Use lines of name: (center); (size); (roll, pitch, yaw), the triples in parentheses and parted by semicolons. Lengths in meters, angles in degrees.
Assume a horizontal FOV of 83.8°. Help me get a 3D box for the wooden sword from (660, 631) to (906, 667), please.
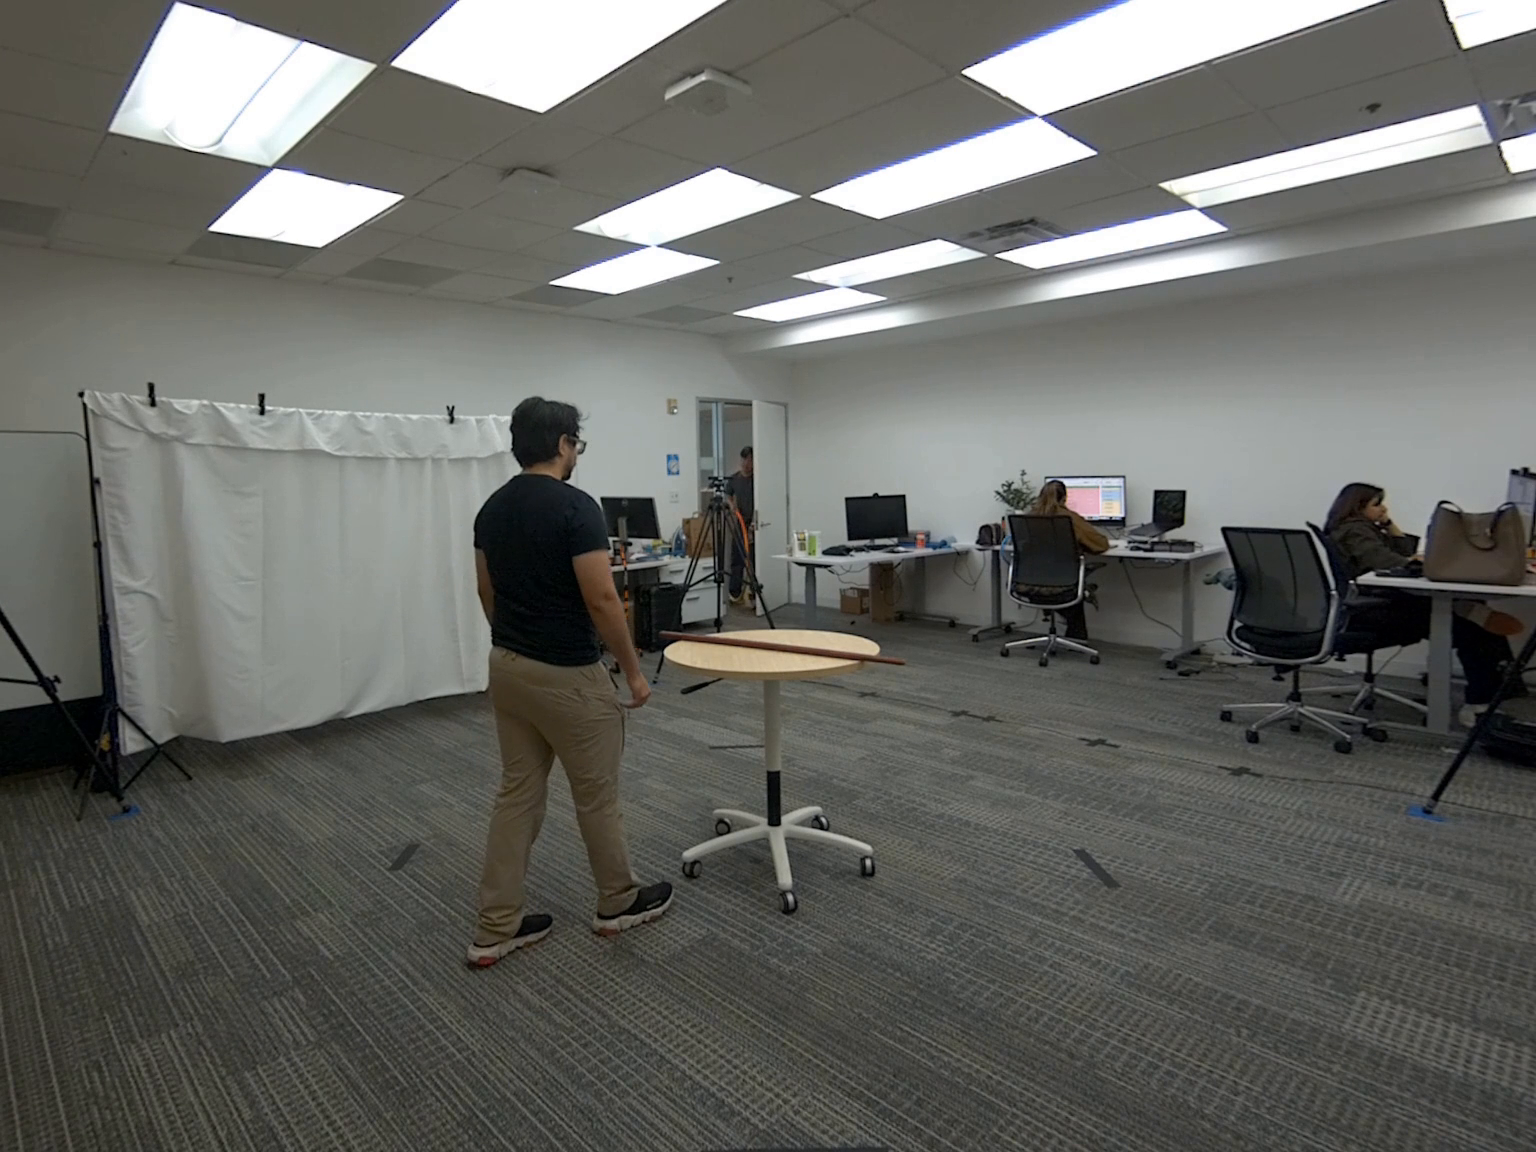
wooden sword: (0.013, 0.258, 3.003); (1.053, 0.052, 0.023); (3, -23, 33)
